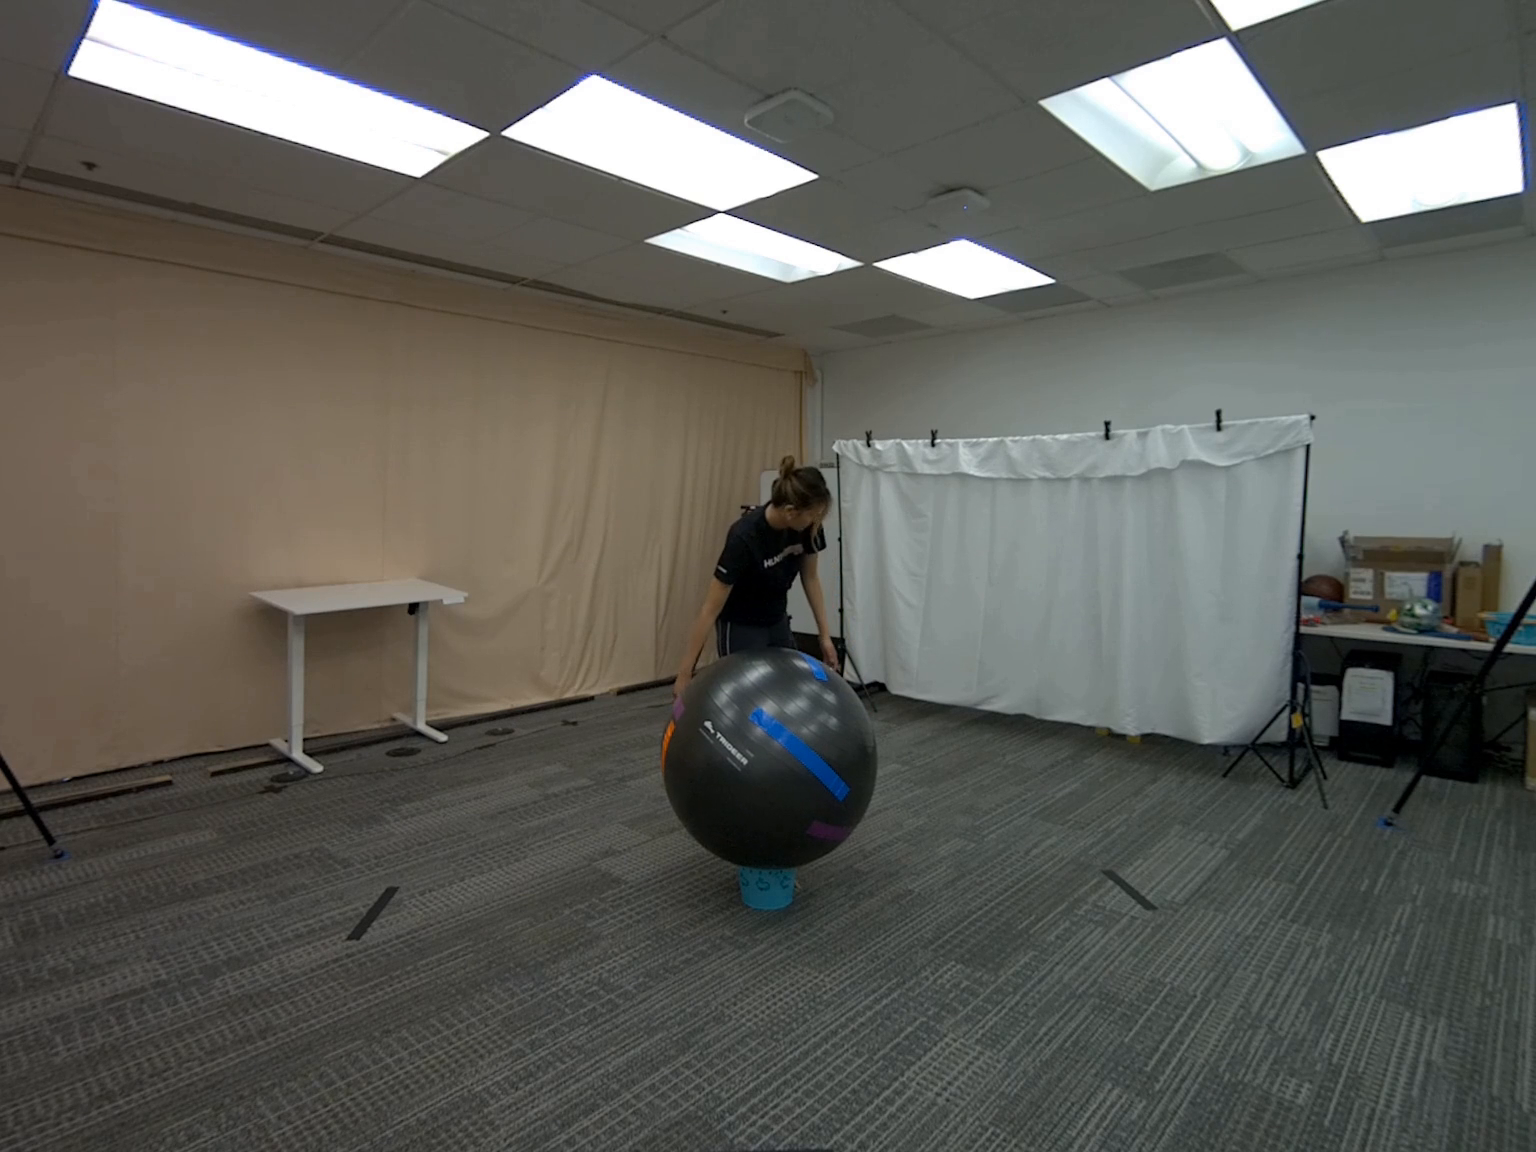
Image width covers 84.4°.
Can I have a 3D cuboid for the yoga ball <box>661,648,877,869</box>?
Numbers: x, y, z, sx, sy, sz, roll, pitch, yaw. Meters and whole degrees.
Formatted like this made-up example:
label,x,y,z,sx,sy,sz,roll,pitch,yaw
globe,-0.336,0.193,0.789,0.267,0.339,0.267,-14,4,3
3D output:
label,x,y,z,sx,sy,sz,roll,pitch,yaw
yoga ball,0.007,0.640,2.962,0.757,0.756,0.760,0,4,-2
